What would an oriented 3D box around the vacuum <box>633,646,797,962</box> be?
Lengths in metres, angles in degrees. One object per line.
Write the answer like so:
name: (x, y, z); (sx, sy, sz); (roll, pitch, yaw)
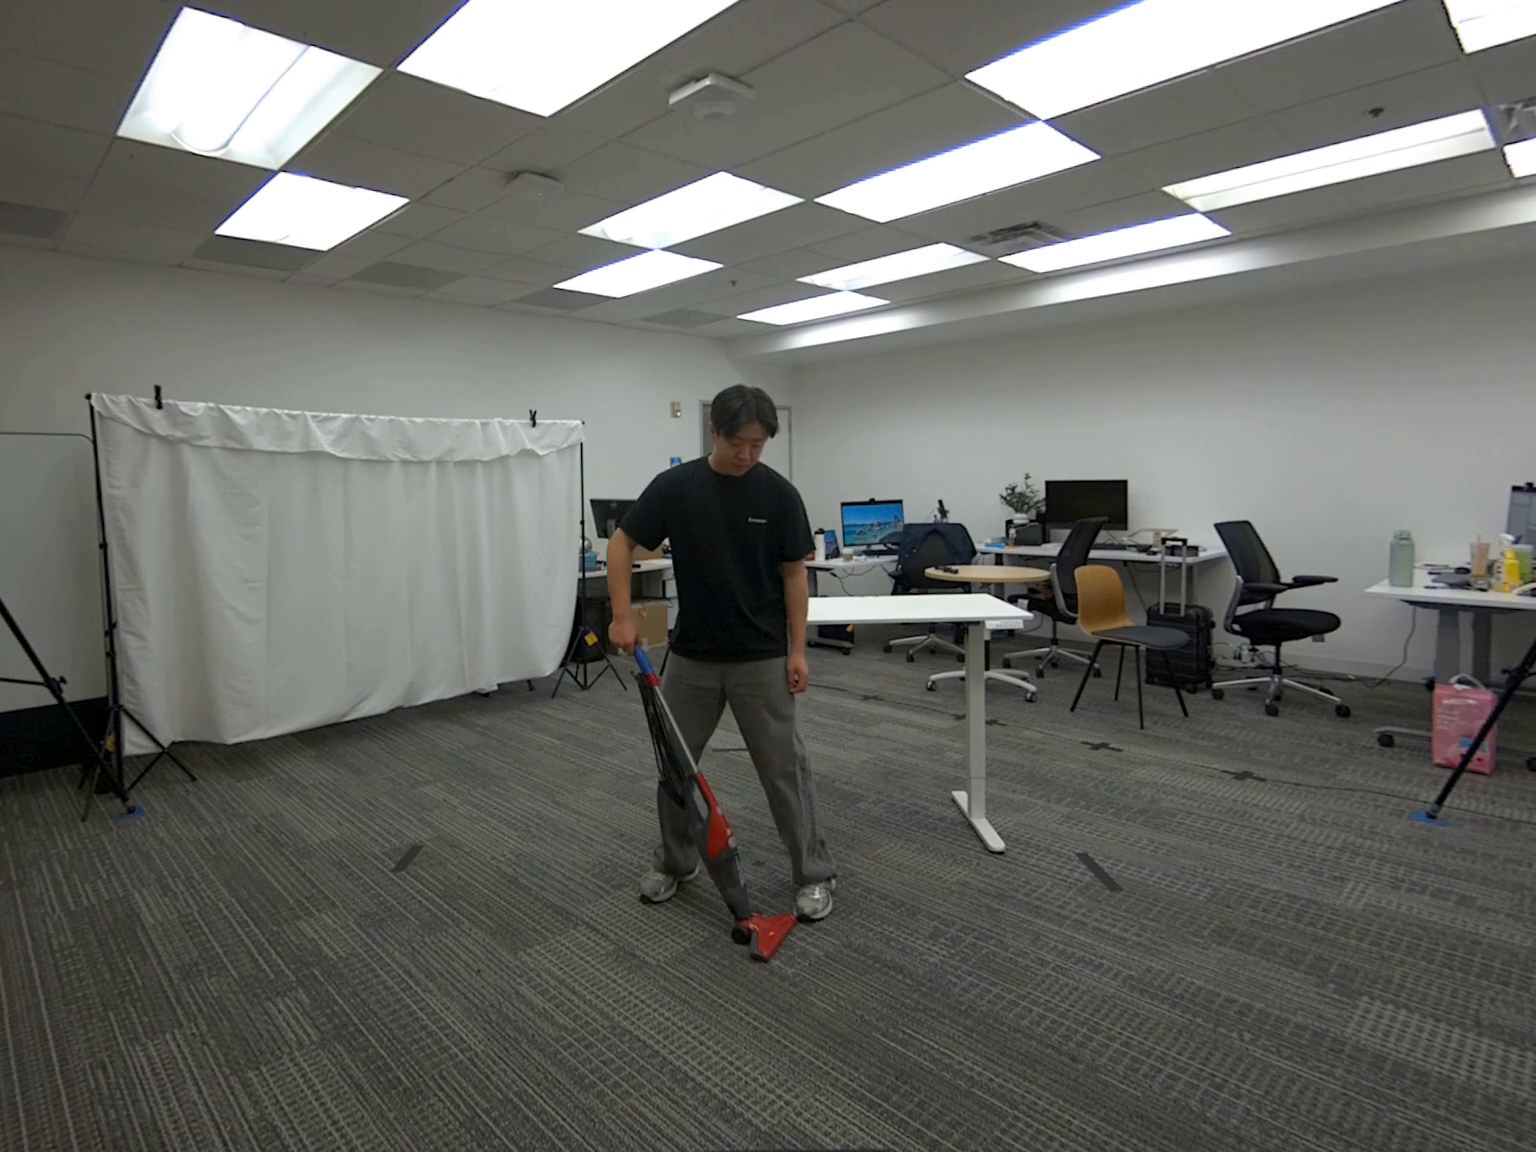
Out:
vacuum: (-0.245, 0.641, 2.679); (0.145, 1.060, 0.248); (-33, -9, 27)
